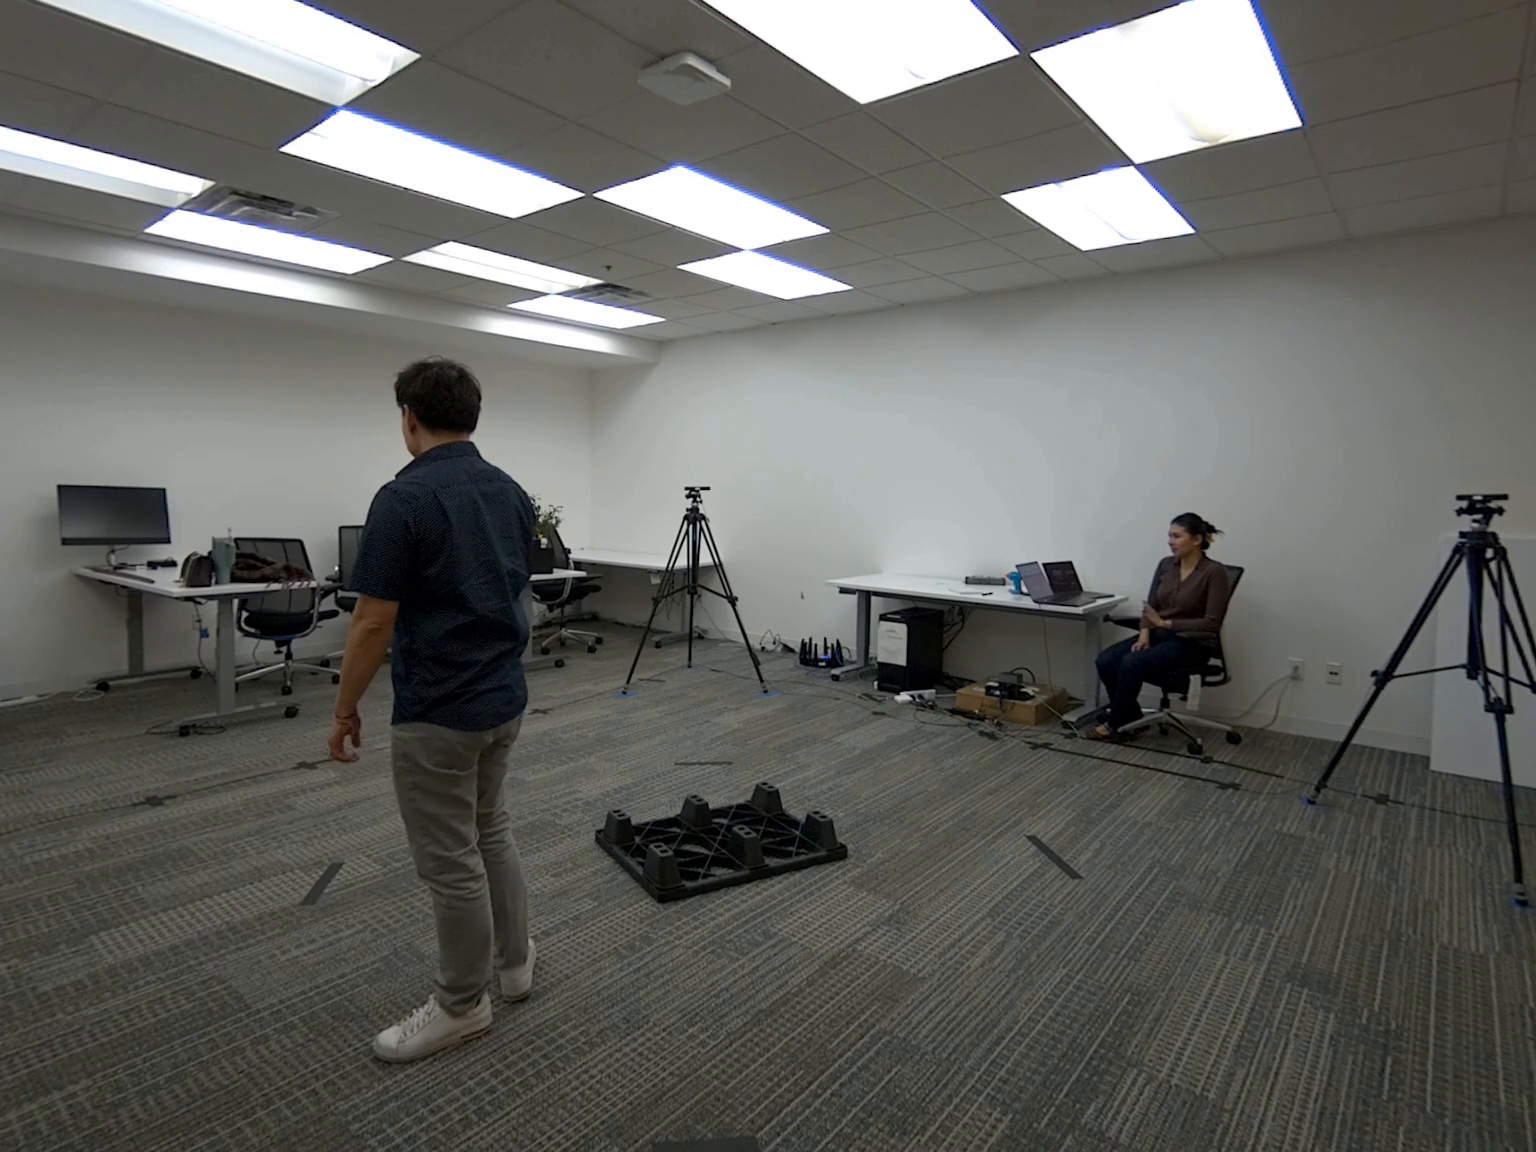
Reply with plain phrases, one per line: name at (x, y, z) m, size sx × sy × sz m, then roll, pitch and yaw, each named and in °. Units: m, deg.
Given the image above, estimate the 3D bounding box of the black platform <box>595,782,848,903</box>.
black platform at (-0.197, 0.981, 3.269) m, size 0.784 × 0.143 × 0.624 m, roll -3°, pitch 6°, yaw -32°
